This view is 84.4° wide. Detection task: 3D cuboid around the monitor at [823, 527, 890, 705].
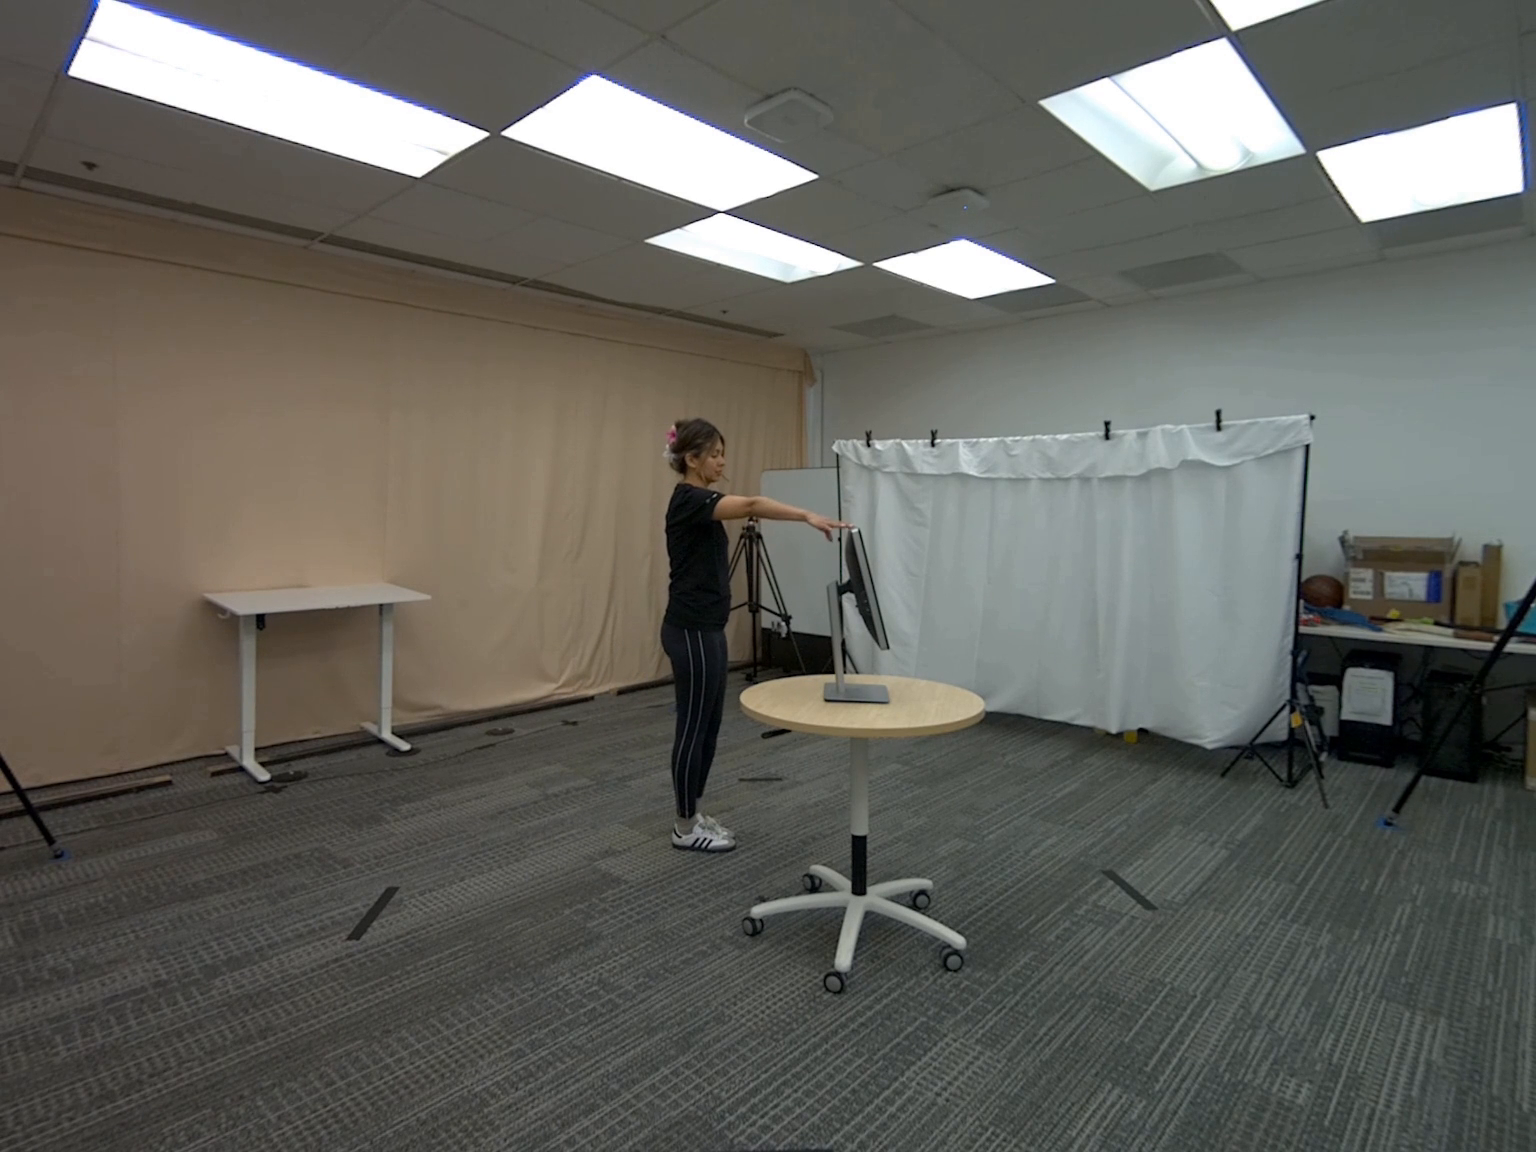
[{"bbox_3d":[0.285,0.122,2.724,0.188,0.522,0.537,0,3,3],"label":"monitor"}]
